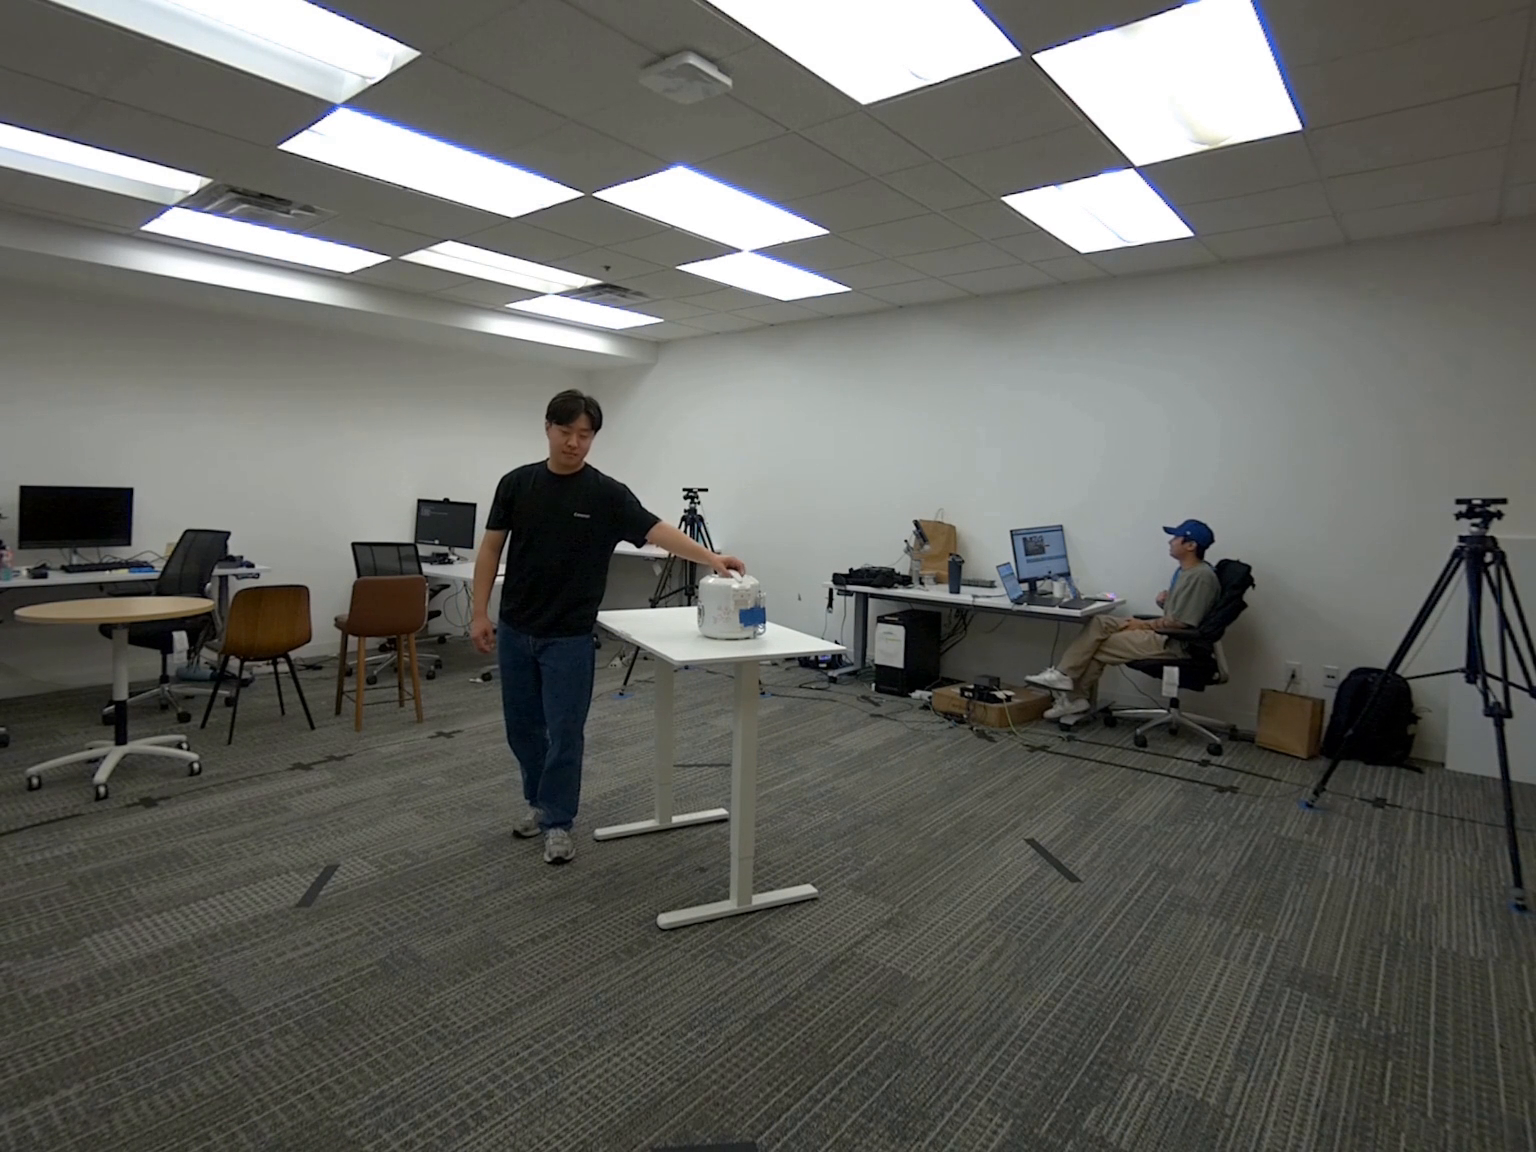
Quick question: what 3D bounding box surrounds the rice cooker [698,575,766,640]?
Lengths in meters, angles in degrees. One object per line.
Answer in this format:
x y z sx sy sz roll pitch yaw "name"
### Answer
-0.143 0.088 2.939 0.212 0.232 0.226 -1 4 -23 "rice cooker"
